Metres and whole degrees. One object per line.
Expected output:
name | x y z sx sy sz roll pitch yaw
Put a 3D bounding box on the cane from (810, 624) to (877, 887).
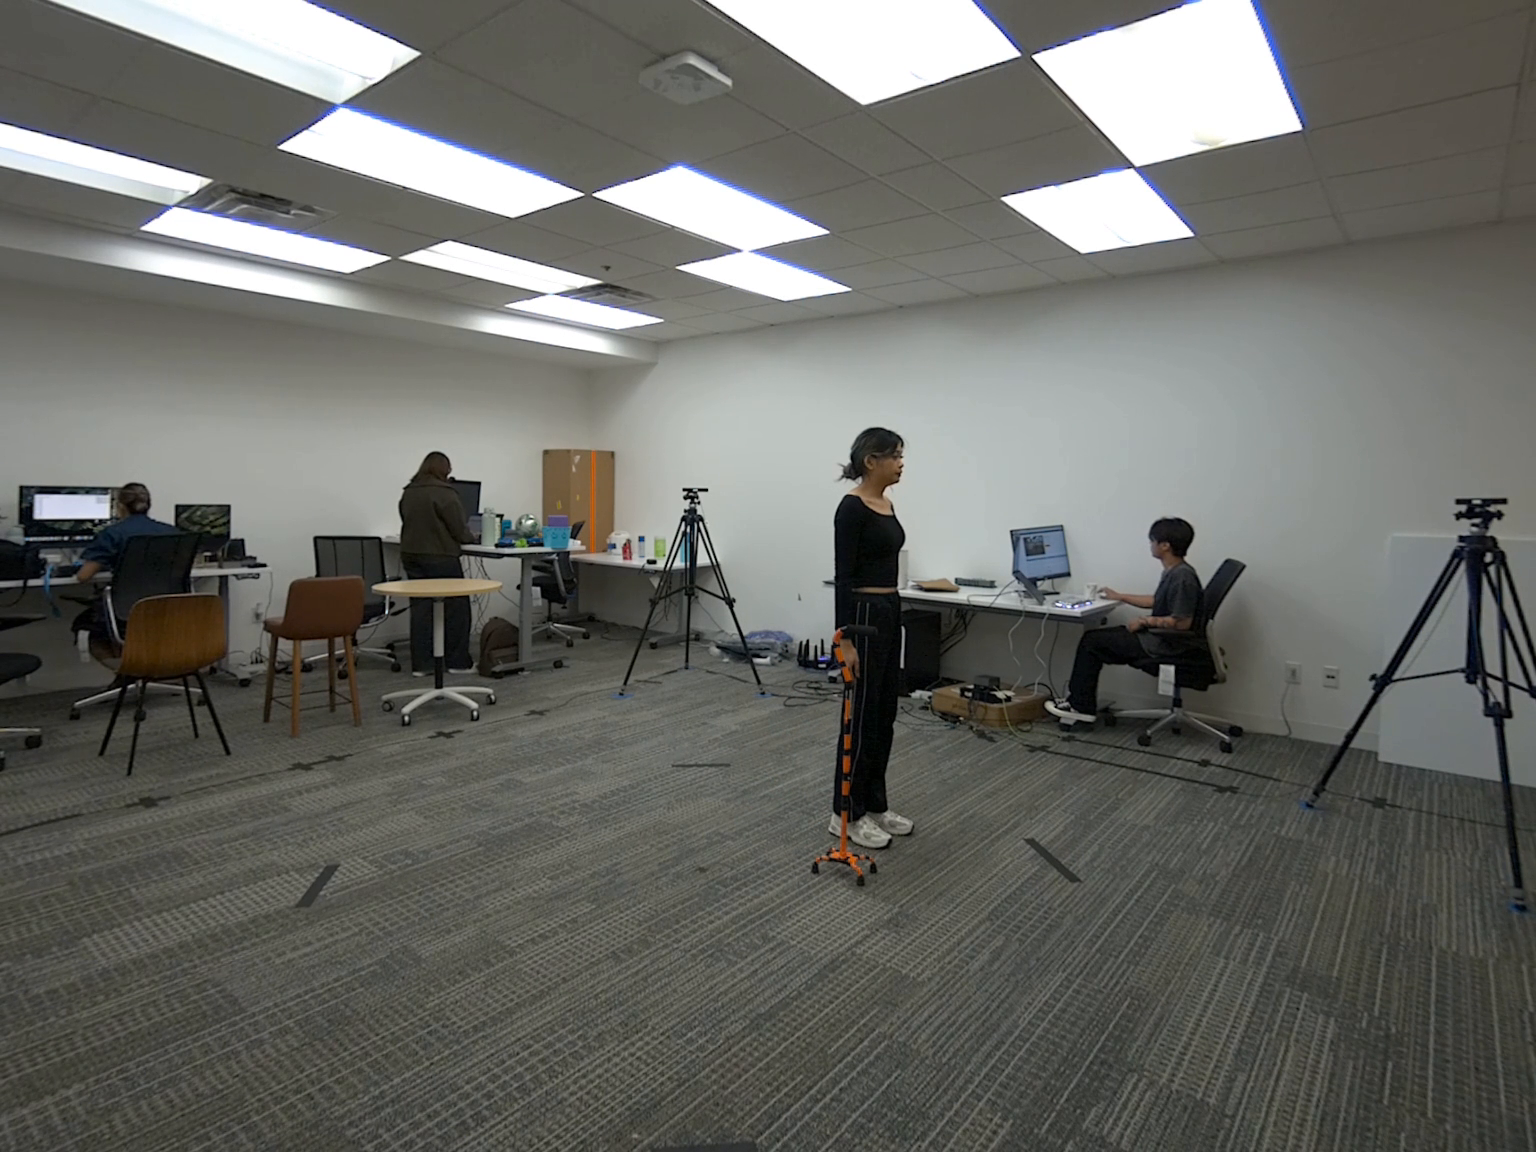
cane | 0.284 0.626 3.097 0.212 0.906 0.147 2 2 31
